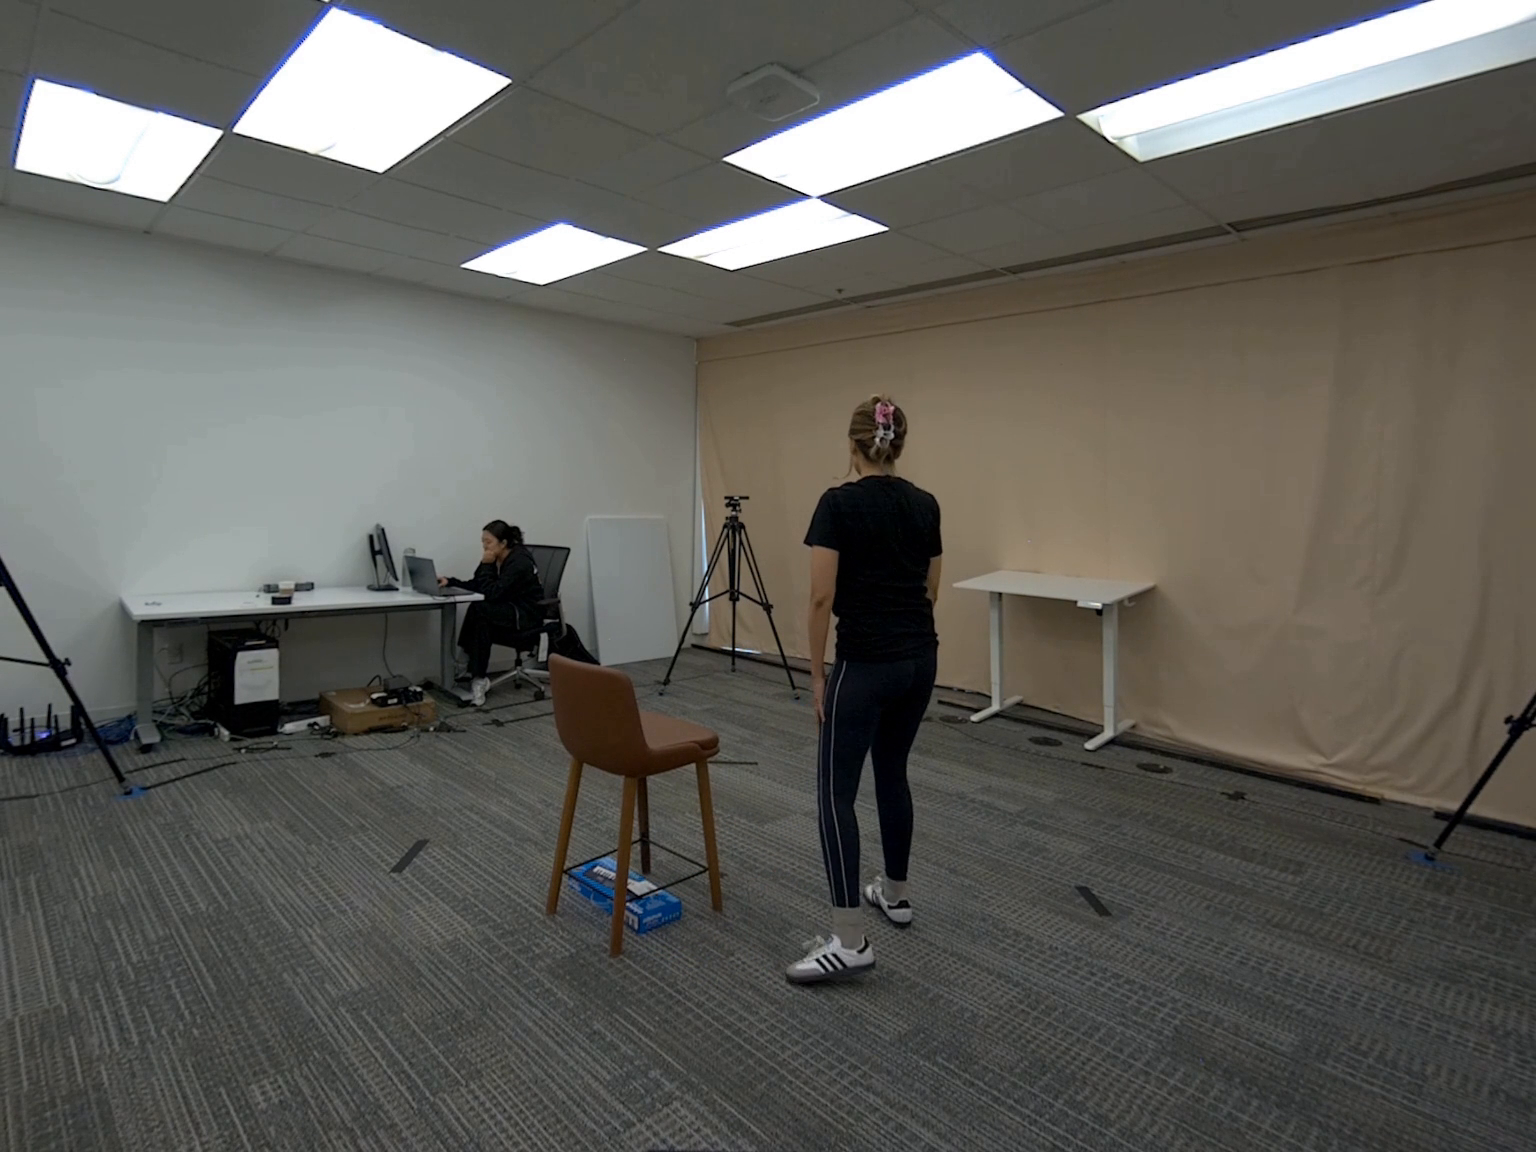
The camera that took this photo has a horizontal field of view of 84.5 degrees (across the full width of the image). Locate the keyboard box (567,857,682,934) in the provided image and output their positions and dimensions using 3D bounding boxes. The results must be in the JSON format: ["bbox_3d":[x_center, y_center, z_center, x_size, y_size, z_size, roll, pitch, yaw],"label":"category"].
[{"bbox_3d":[-0.500,1.079,2.890,0.172,0.059,0.448,-3,7,-44],"label":"keyboard box"}]
